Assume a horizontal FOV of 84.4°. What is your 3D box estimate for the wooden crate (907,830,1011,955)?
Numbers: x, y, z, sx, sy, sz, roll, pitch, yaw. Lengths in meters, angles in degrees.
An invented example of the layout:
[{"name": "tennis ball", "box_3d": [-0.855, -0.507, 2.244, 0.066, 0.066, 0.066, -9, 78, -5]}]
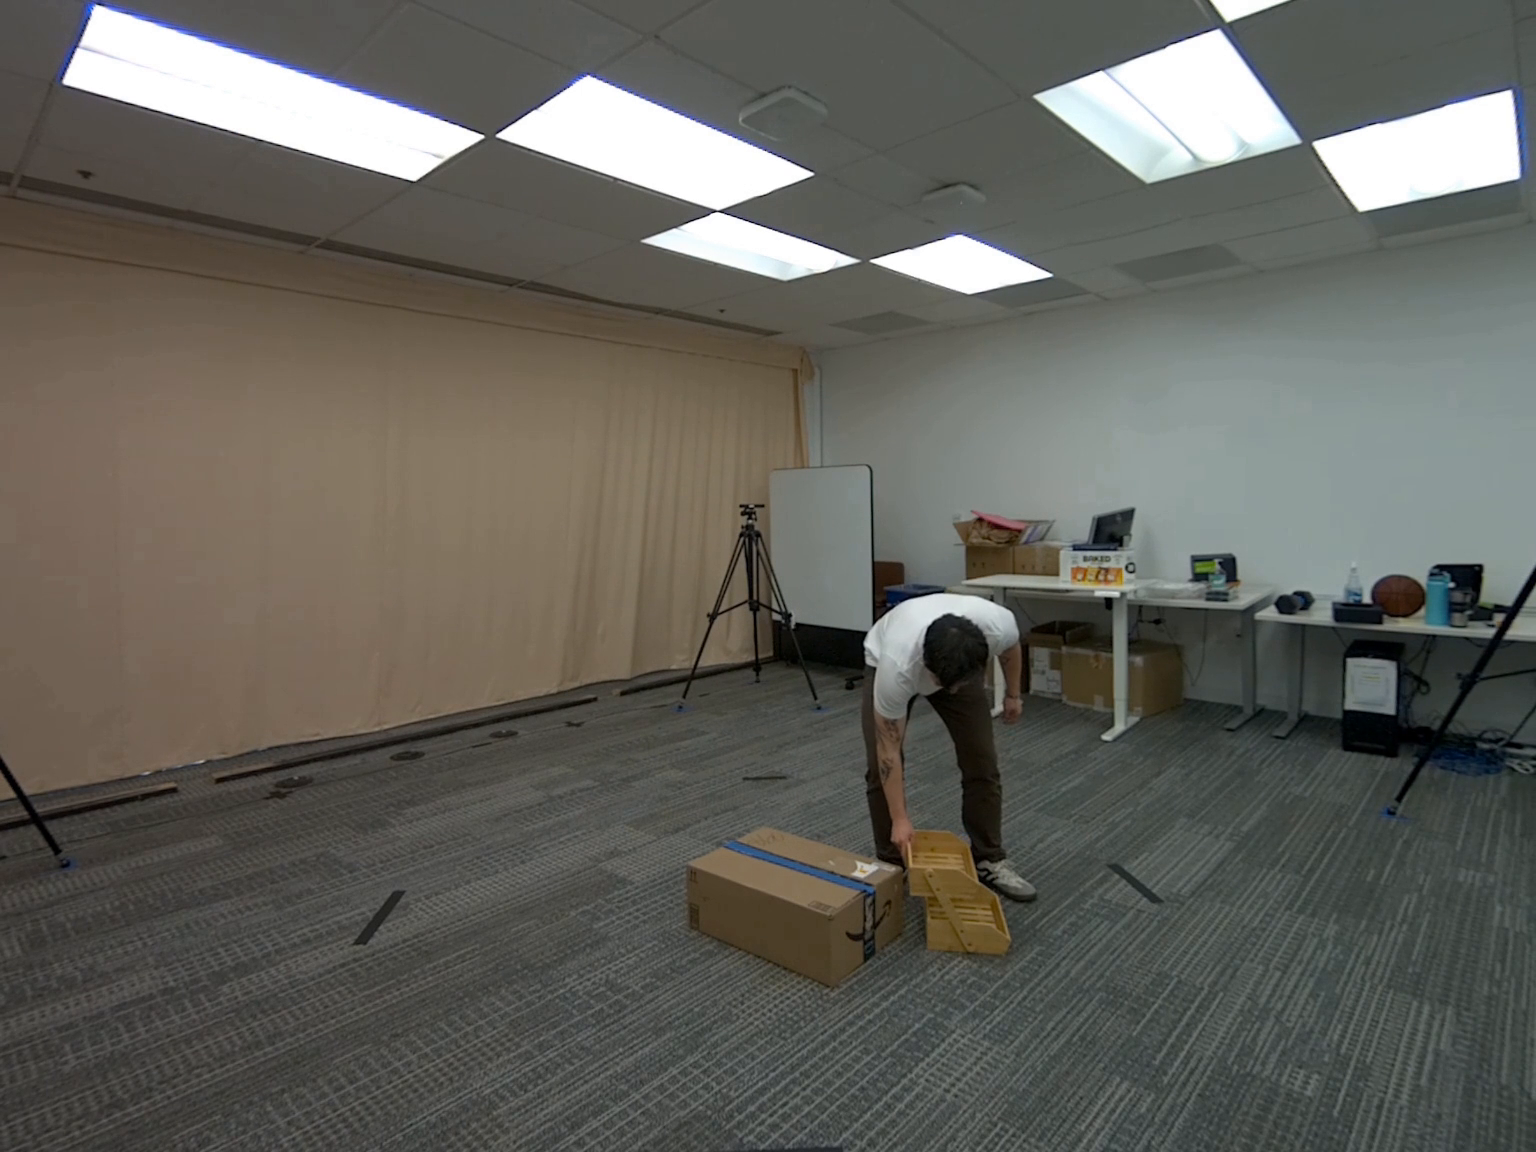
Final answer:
[{"name": "wooden crate", "box_3d": [0.626, 1.017, 2.731, 0.305, 0.273, 0.322, -1, 4, 9]}]
